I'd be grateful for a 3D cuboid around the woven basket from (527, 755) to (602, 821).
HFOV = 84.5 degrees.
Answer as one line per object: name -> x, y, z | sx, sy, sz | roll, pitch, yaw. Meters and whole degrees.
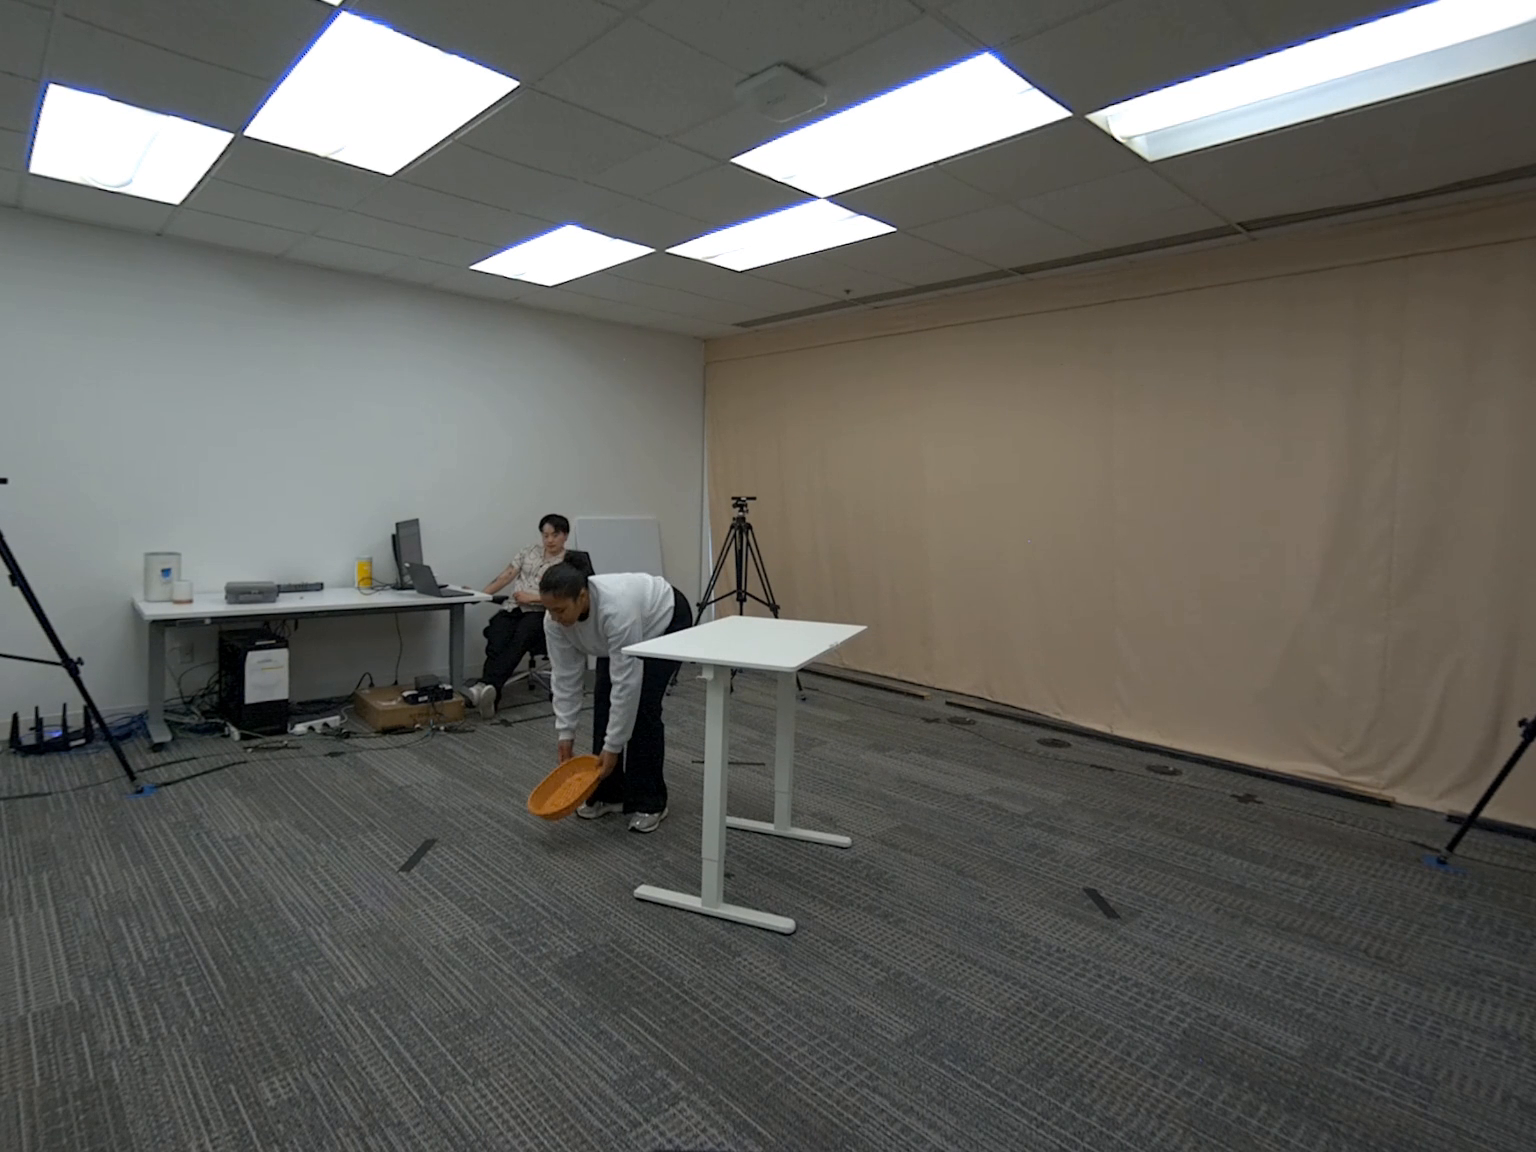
woven basket -> -0.820, 0.851, 3.363 | 0.258, 0.072, 0.349 | 3, 32, 39
